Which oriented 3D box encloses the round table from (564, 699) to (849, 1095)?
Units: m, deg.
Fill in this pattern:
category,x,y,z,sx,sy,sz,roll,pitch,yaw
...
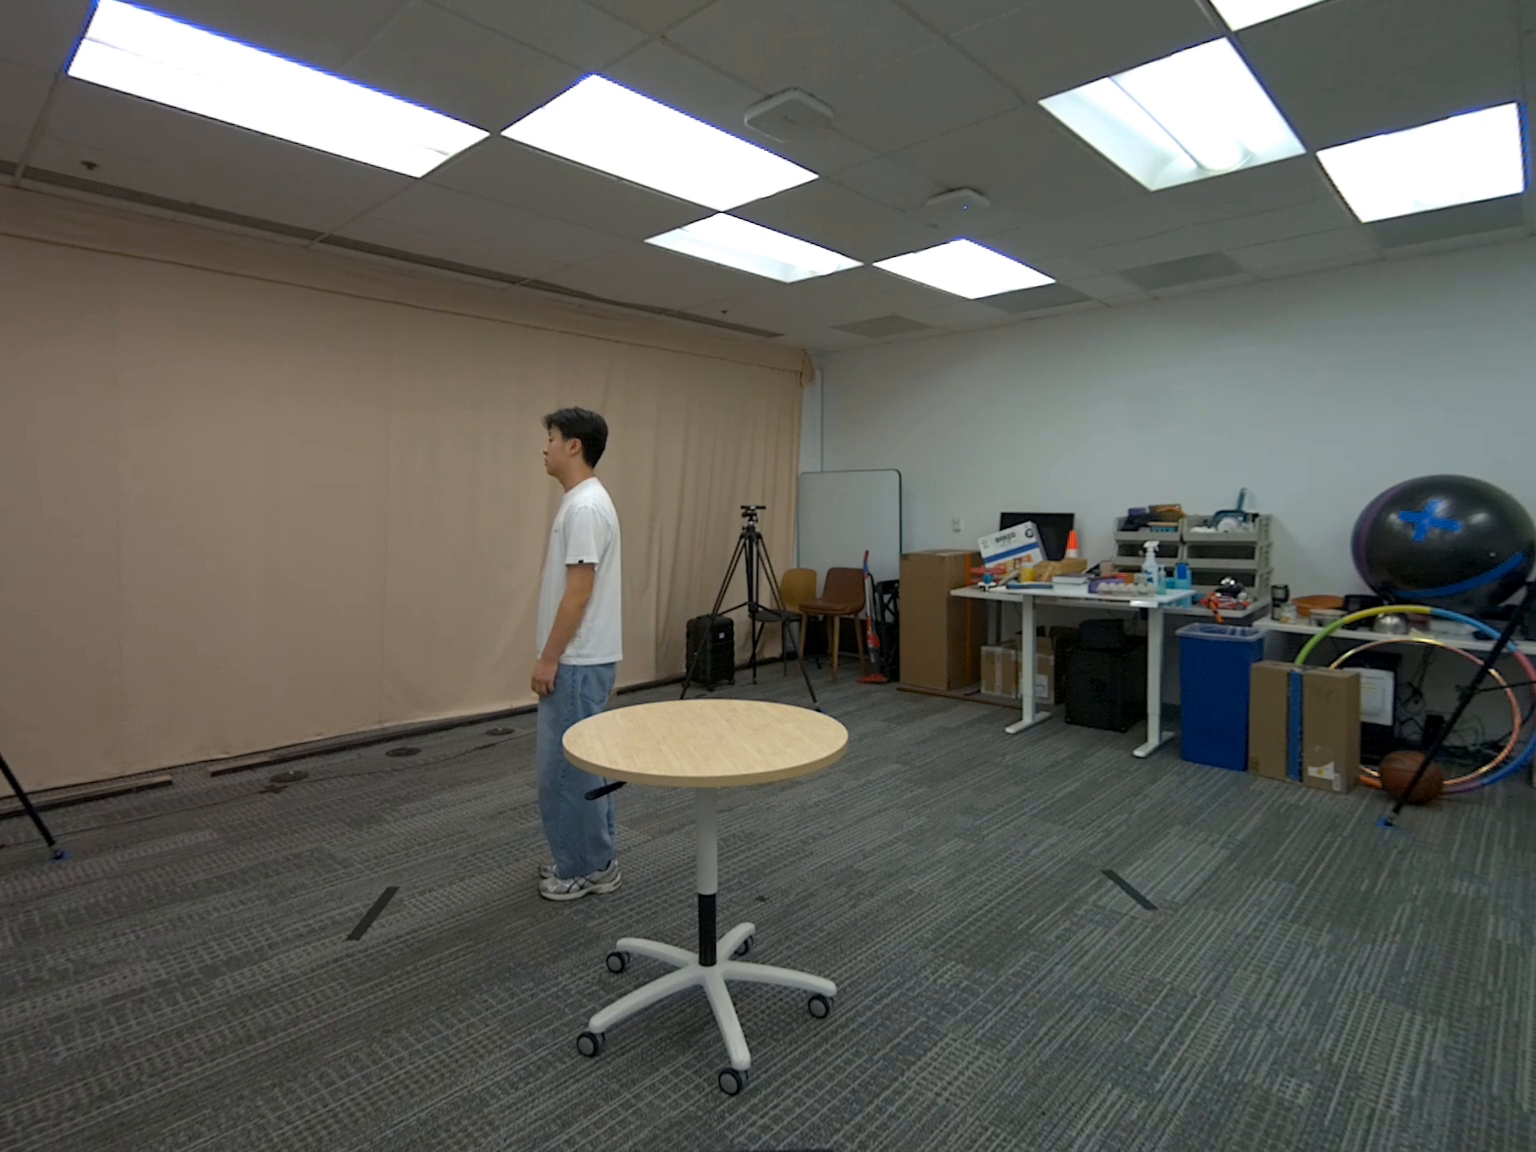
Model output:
category,x,y,z,sx,sy,sz,roll,pitch,yaw
round table,-0.173,0.815,2.304,0.763,0.792,0.767,-1,4,-2
